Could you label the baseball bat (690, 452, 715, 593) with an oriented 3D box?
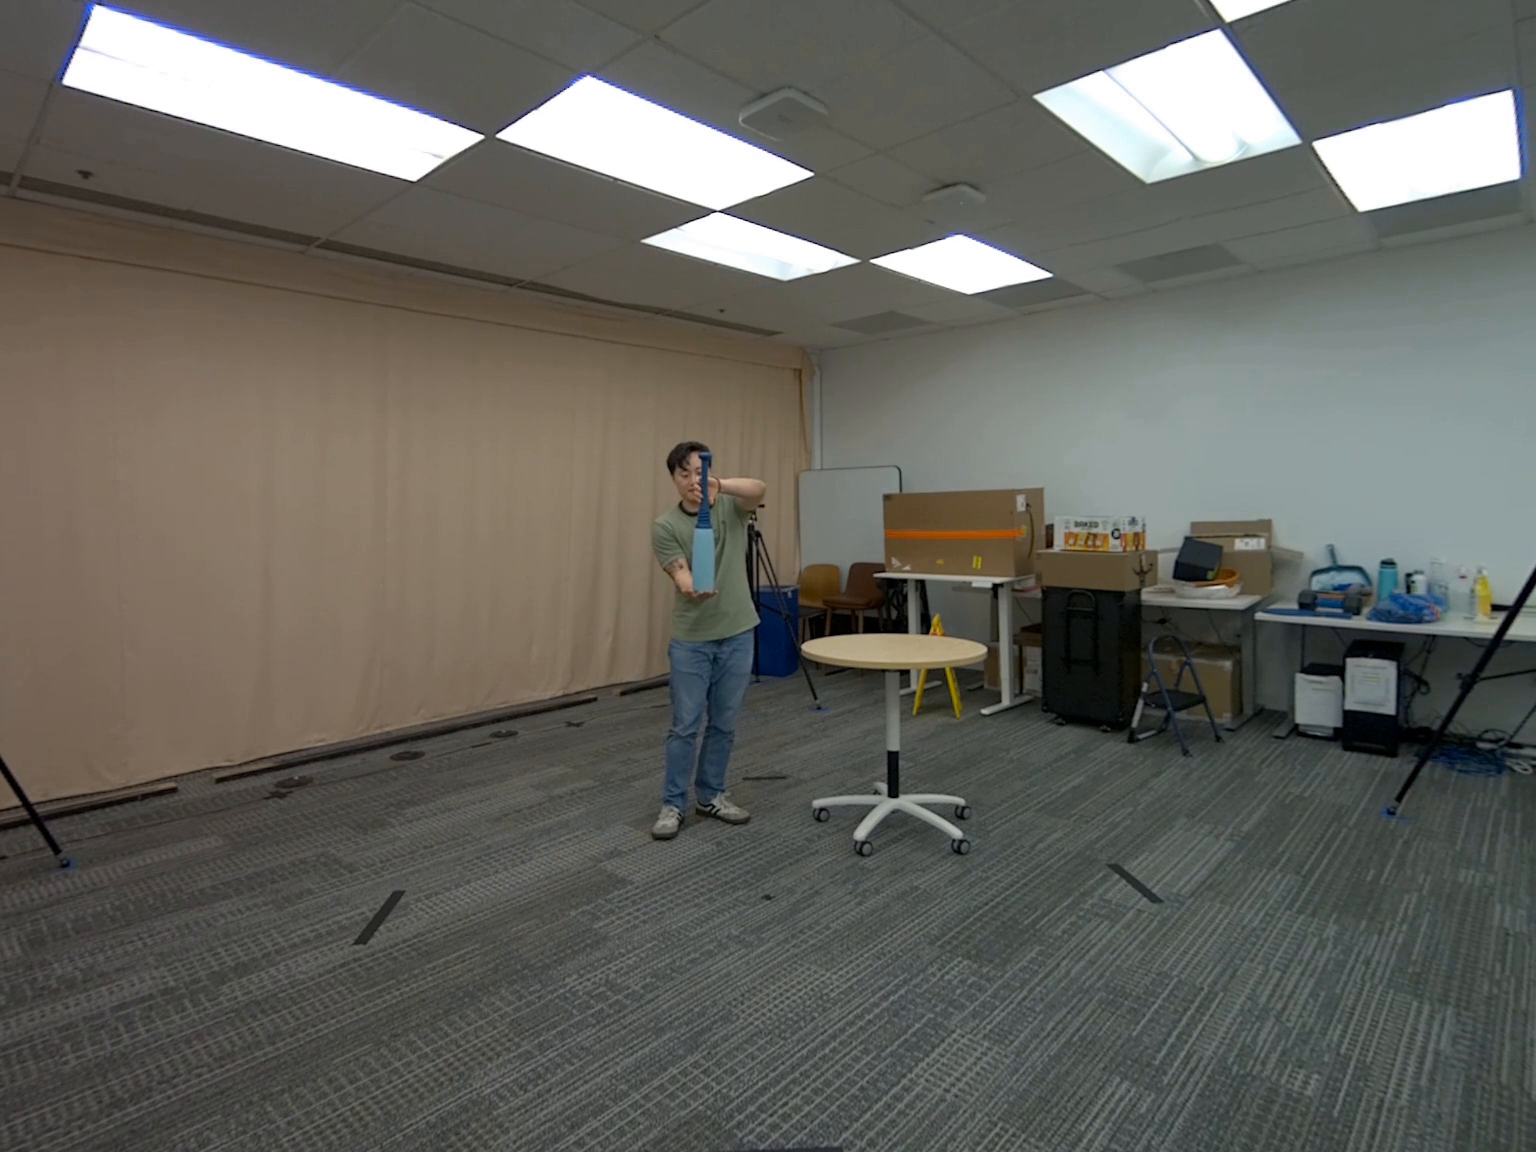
[{"bbox_3d":[-0.248,-0.204,3.277,0.089,0.541,0.089,1,5,-2],"label":"baseball bat"}]
